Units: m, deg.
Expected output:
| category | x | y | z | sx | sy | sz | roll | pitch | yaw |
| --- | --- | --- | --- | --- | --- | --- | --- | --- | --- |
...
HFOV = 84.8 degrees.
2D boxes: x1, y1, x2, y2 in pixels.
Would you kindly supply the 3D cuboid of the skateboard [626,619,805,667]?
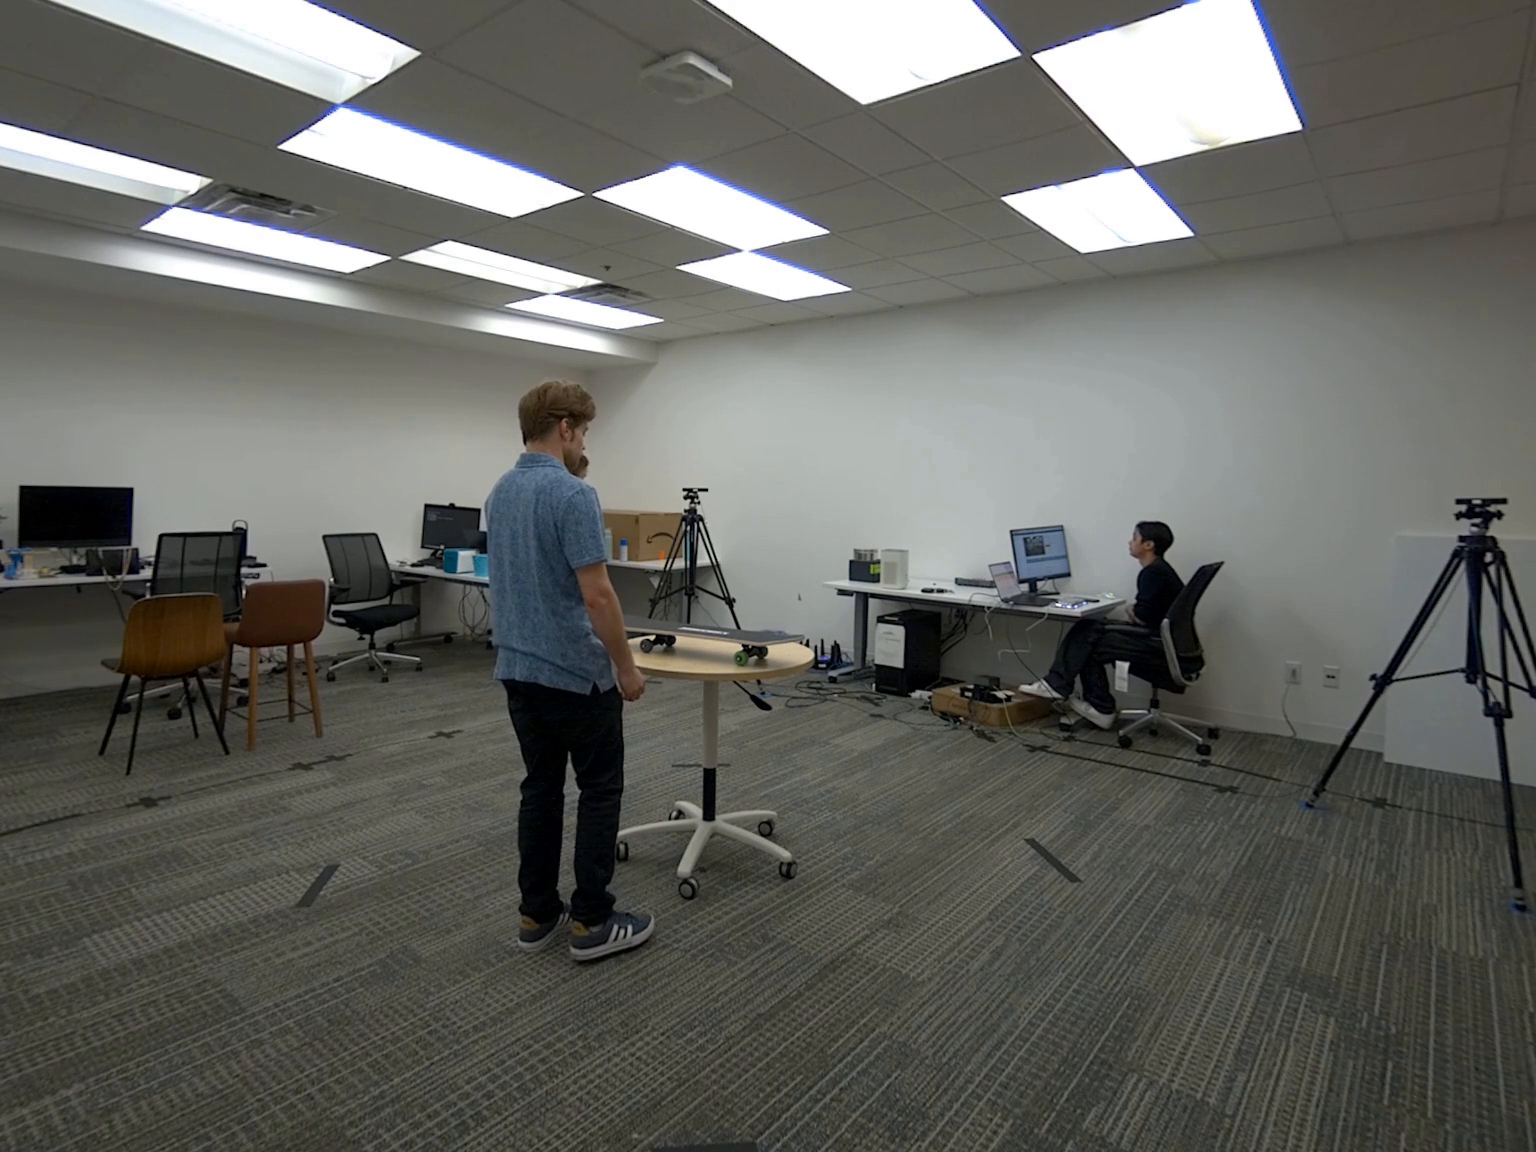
| category | x | y | z | sx | sy | sz | roll | pitch | yaw |
| --- | --- | --- | --- | --- | --- | --- | --- | --- | --- |
| skateboard | -0.244 | 0.239 | 3.099 | 0.807 | 0.110 | 0.189 | 3 | 6 | 28 |
